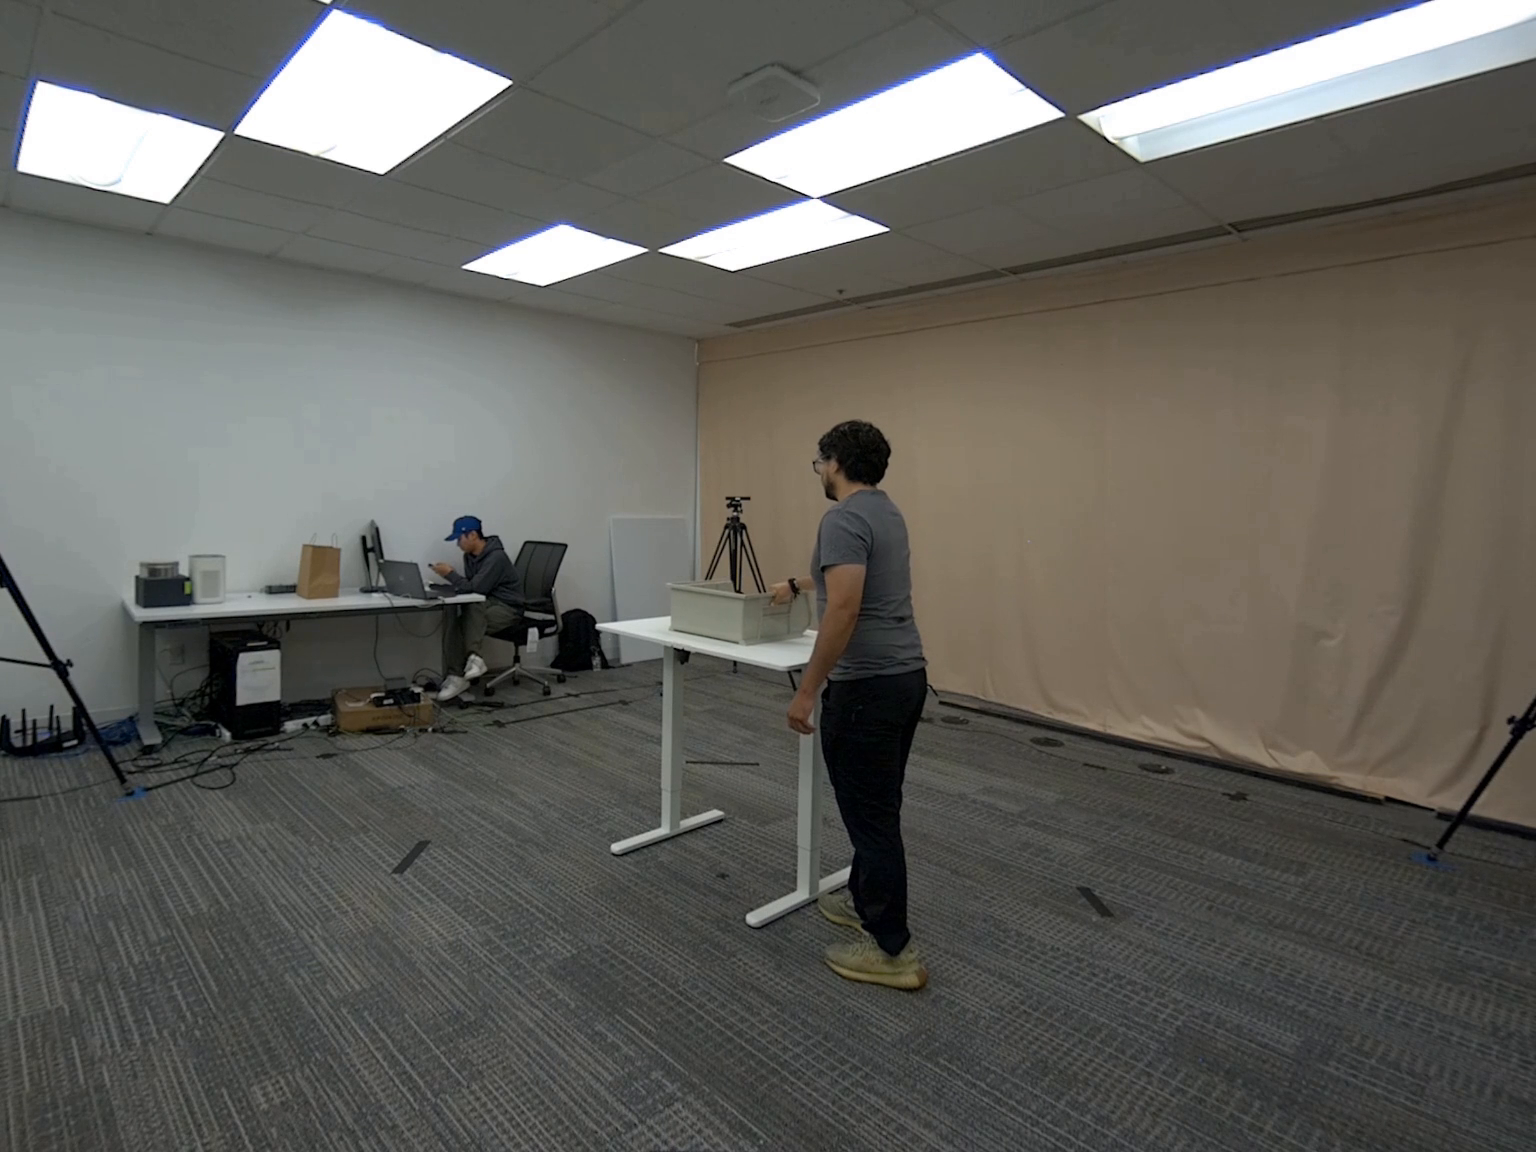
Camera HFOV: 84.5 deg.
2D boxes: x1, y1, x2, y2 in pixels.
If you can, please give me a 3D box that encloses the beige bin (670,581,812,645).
[{"bbox_3d":[-0.114,0.127,3.178,0.433,0.188,0.369,7,9,44],"label":"beige bin"}]
